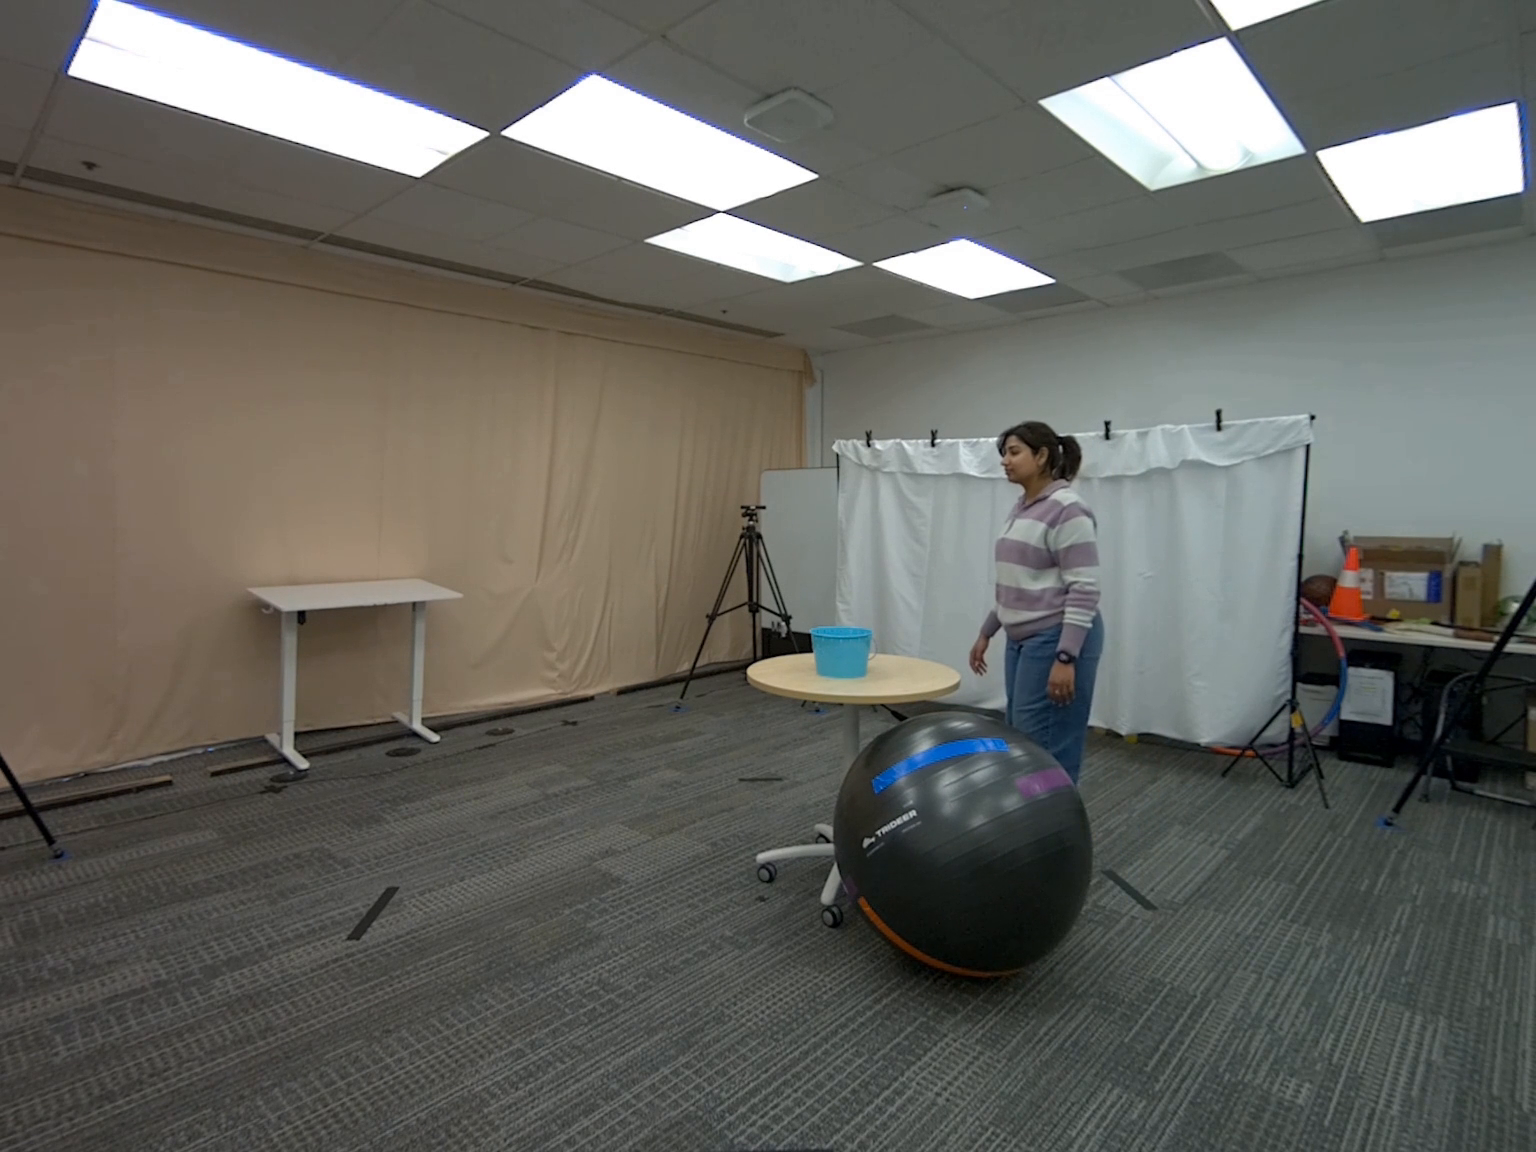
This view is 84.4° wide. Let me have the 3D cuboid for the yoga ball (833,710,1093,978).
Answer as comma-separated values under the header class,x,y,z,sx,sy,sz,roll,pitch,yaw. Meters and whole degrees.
class,x,y,z,sx,sy,sz,roll,pitch,yaw
yoga ball,0.592,0.809,2.565,0.757,0.756,0.760,0,4,-2
